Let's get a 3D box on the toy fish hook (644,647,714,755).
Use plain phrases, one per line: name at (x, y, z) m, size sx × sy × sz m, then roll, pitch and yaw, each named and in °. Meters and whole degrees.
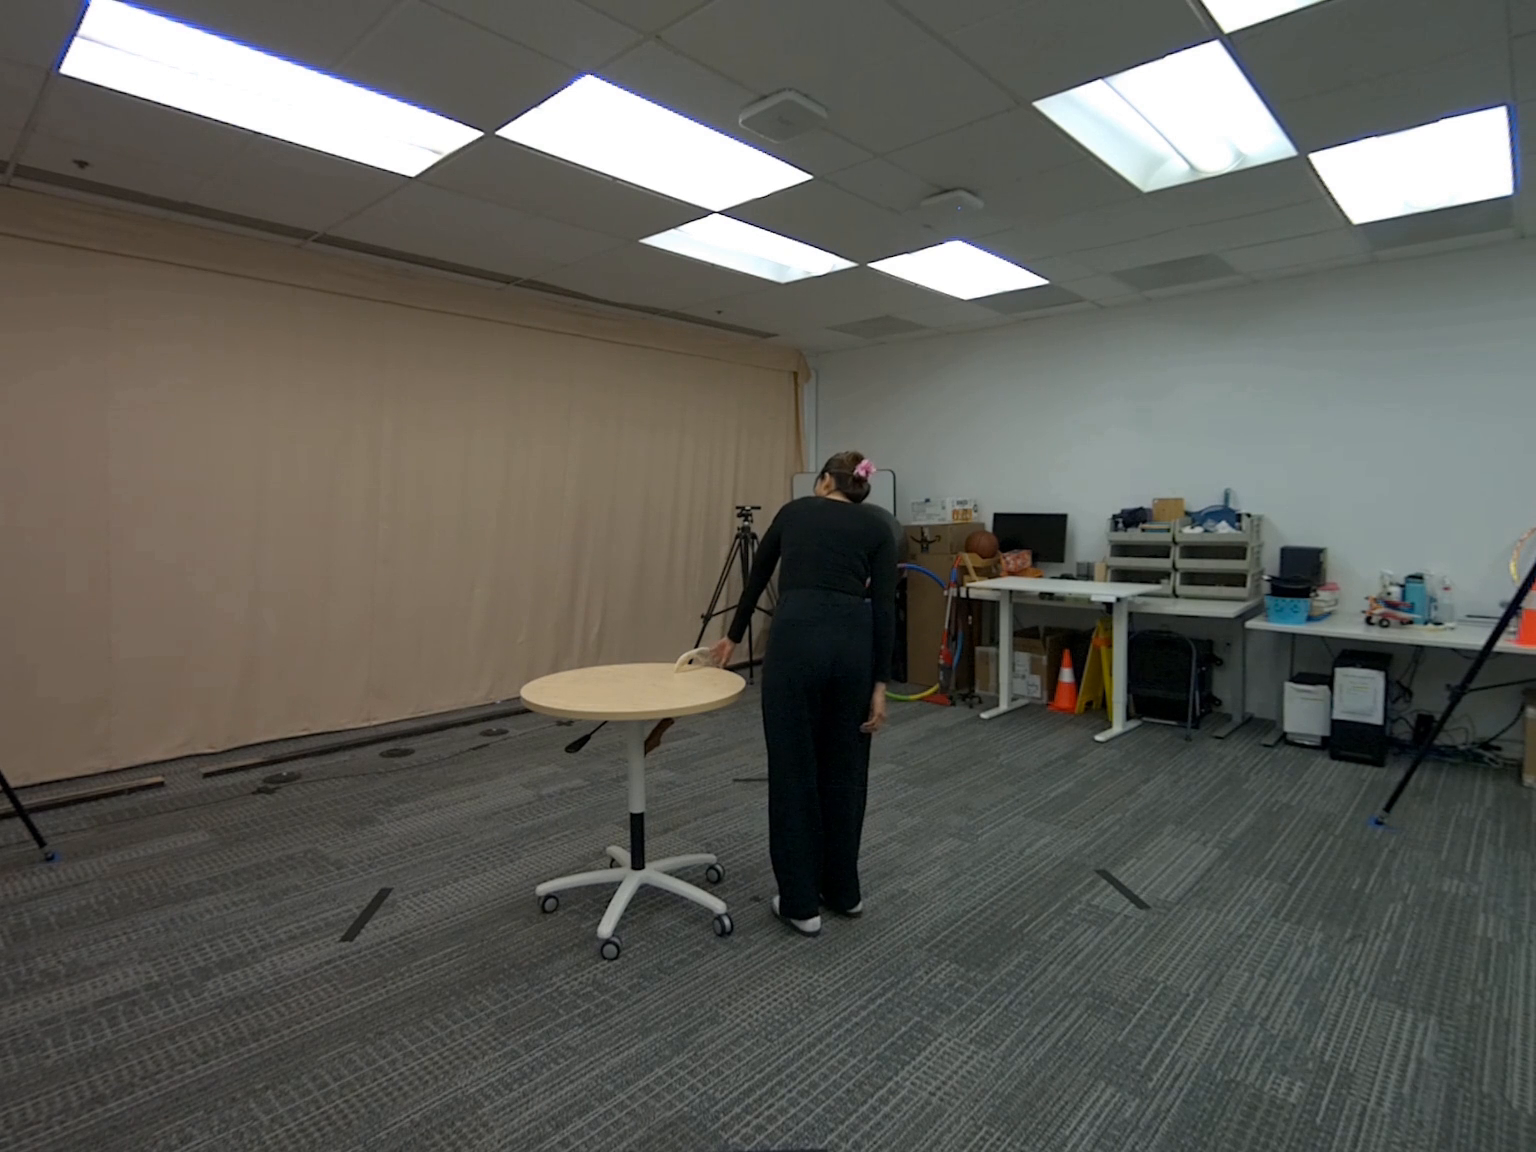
toy fish hook at (-0.343, 0.456, 3.084) m, size 0.050 × 0.220 × 0.502 m, roll 1°, pitch 33°, yaw 37°
